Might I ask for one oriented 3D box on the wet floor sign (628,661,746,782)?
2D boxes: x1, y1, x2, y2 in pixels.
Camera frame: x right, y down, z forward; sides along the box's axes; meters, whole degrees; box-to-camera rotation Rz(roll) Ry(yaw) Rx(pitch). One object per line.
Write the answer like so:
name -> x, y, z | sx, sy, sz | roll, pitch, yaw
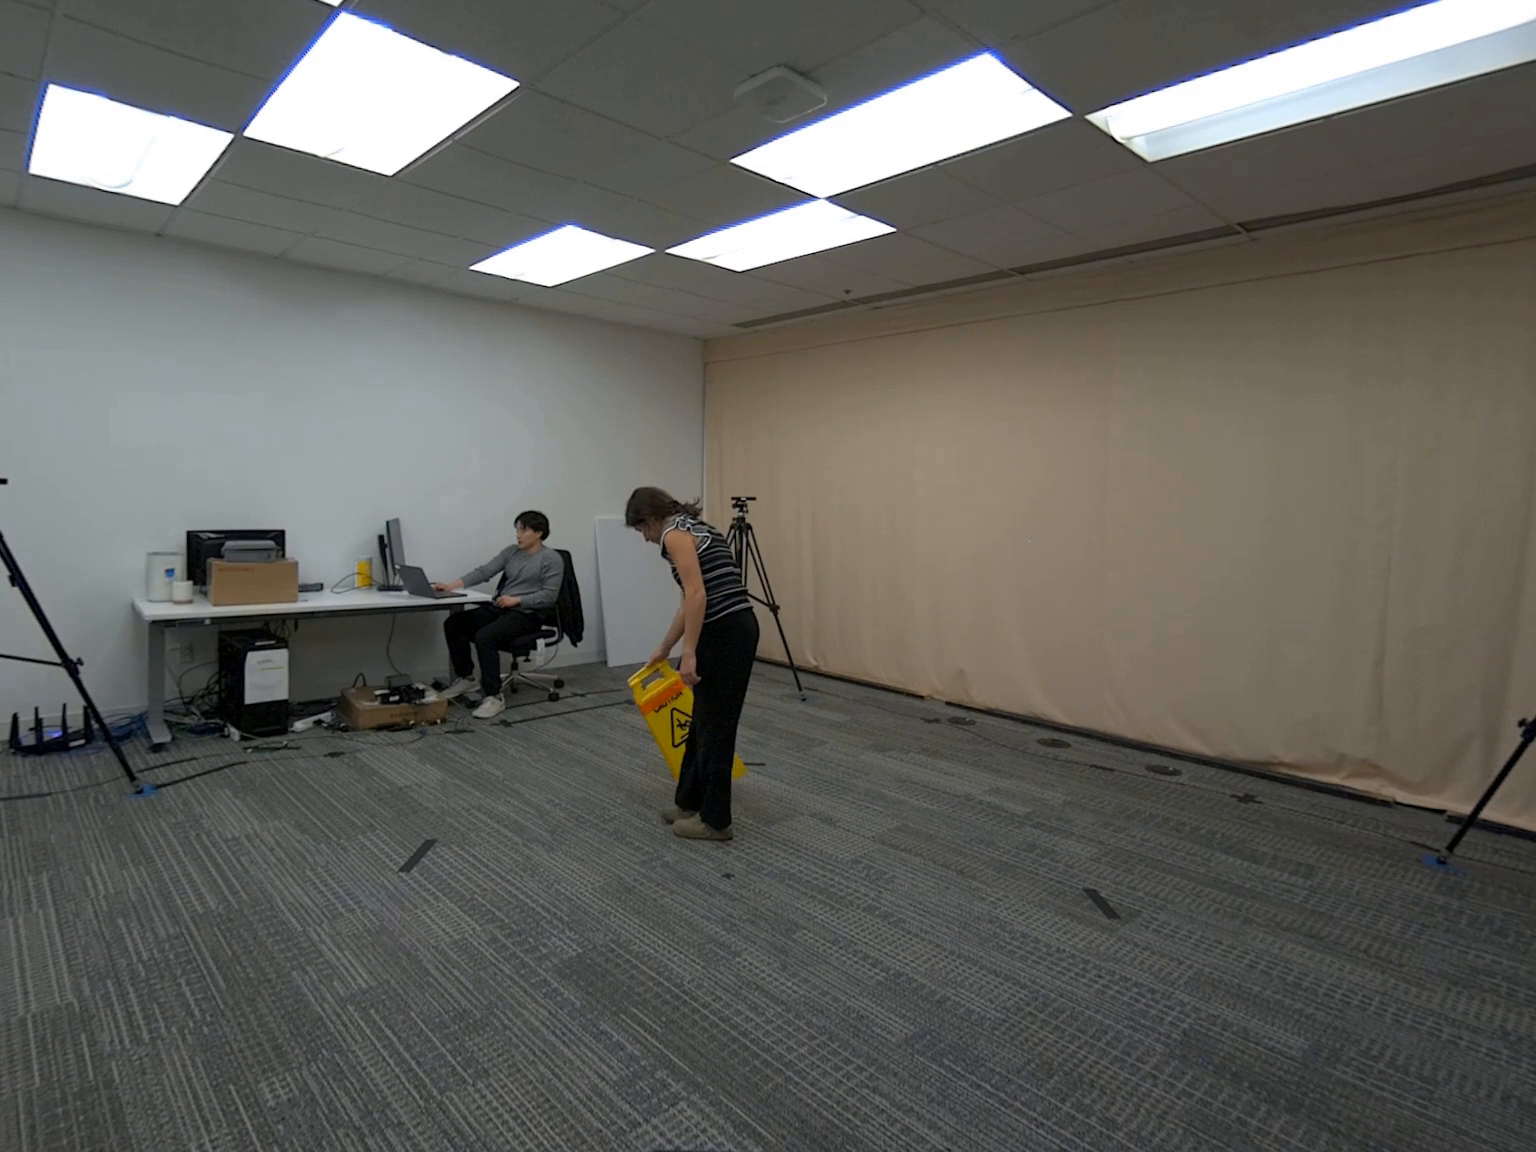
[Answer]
wet floor sign -> -0.414, 0.688, 3.882 | 0.281, 0.636, 0.295 | -32, 17, -14
